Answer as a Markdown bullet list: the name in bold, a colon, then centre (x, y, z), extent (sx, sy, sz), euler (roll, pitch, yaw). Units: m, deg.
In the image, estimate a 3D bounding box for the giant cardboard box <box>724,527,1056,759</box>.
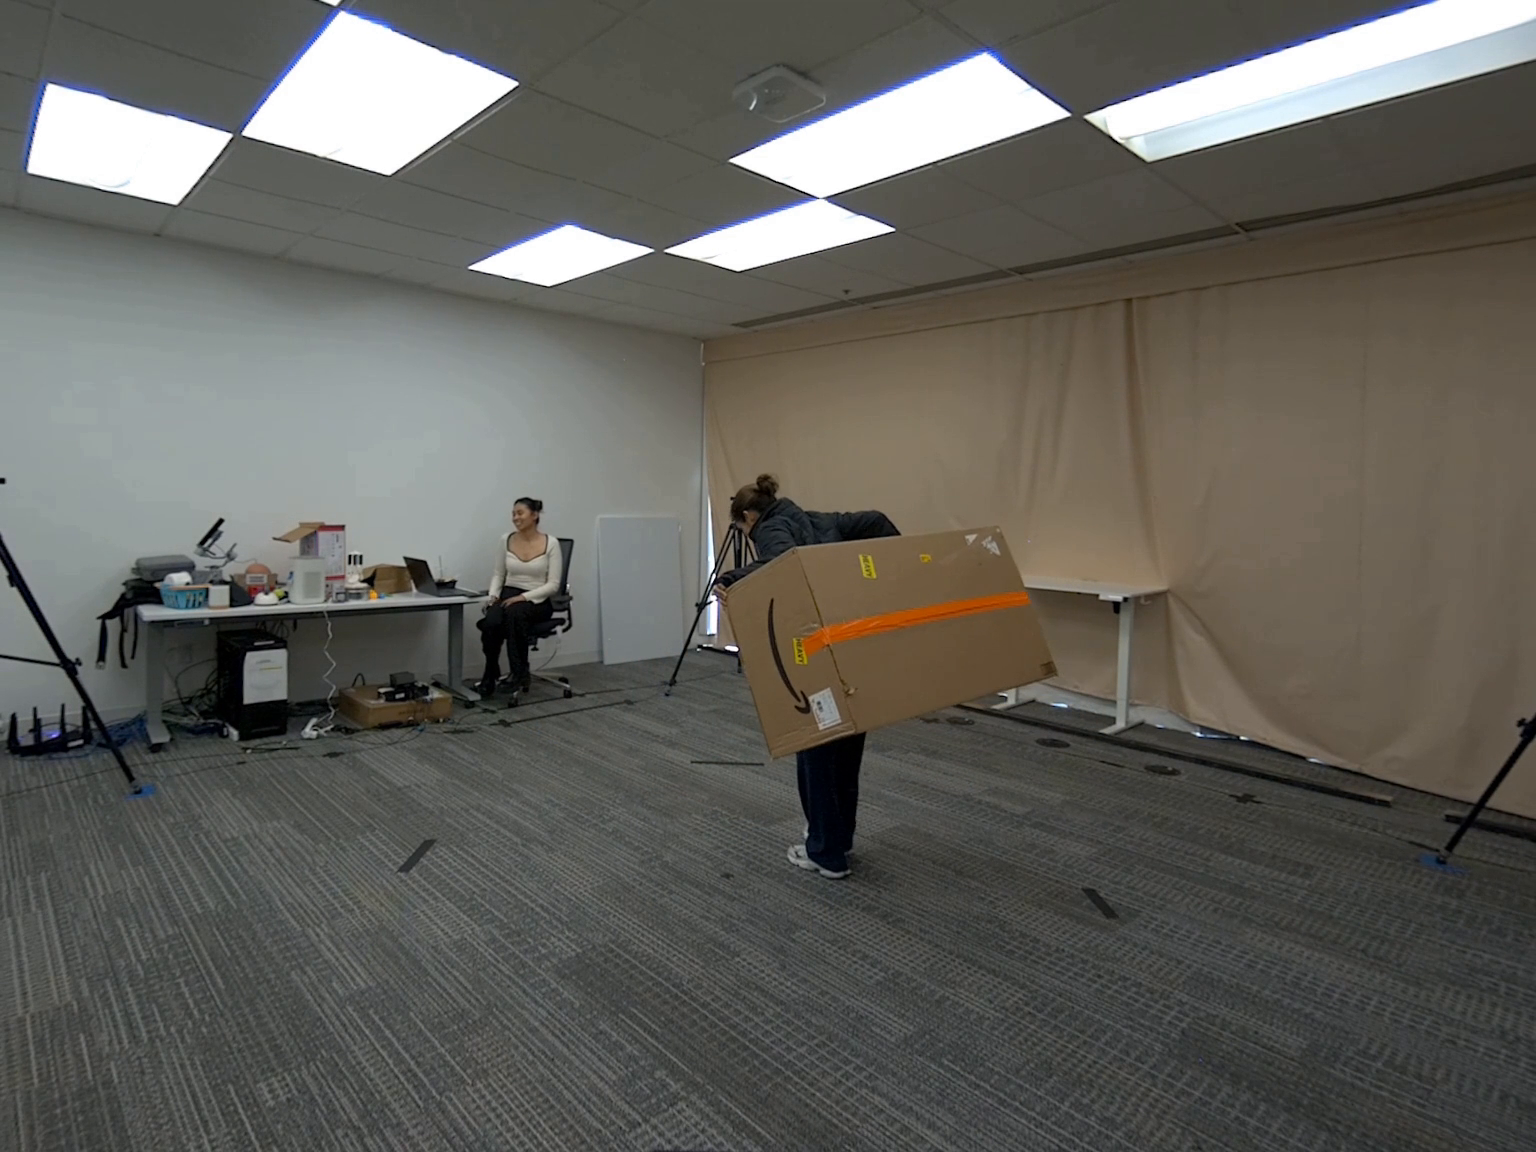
- **giant cardboard box**: centre (0.431, 0.205, 2.903), extent (1.005, 0.585, 0.429), euler (-7, -18, -38)
